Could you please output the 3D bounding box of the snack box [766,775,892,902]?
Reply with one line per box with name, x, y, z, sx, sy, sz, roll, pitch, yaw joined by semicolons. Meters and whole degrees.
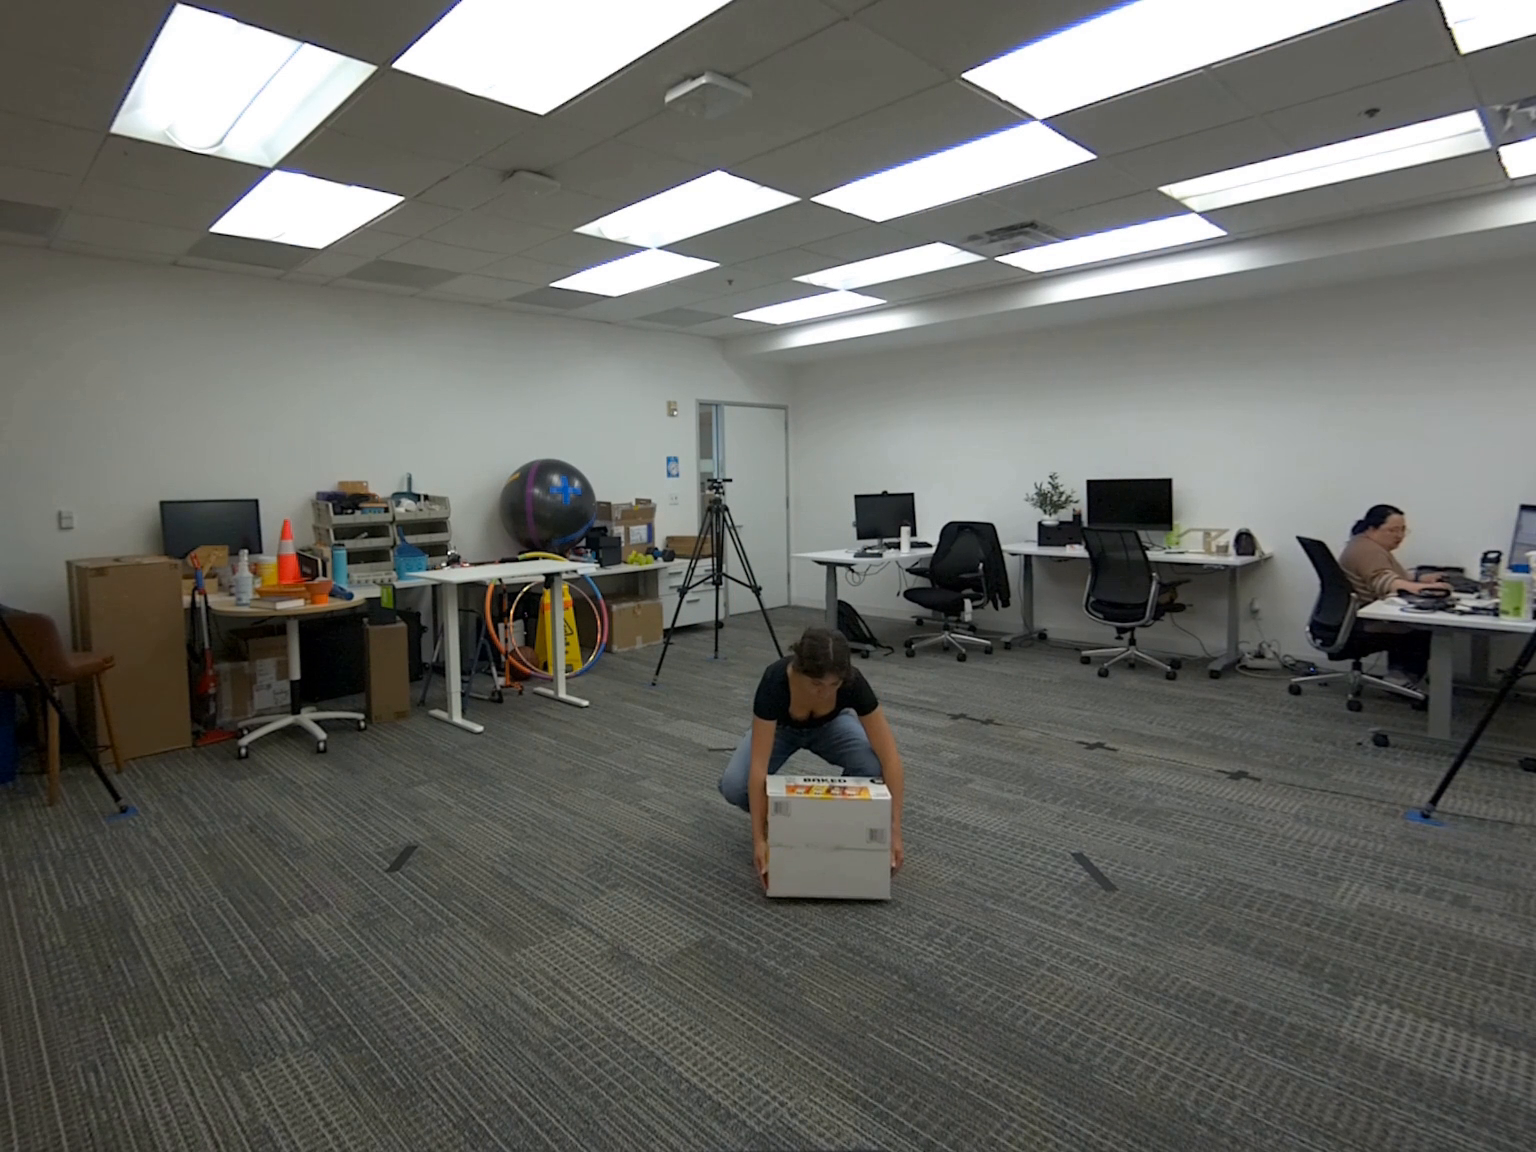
snack box;0.192;0.871;2.869;0.406;0.339;0.206;0;3;1
